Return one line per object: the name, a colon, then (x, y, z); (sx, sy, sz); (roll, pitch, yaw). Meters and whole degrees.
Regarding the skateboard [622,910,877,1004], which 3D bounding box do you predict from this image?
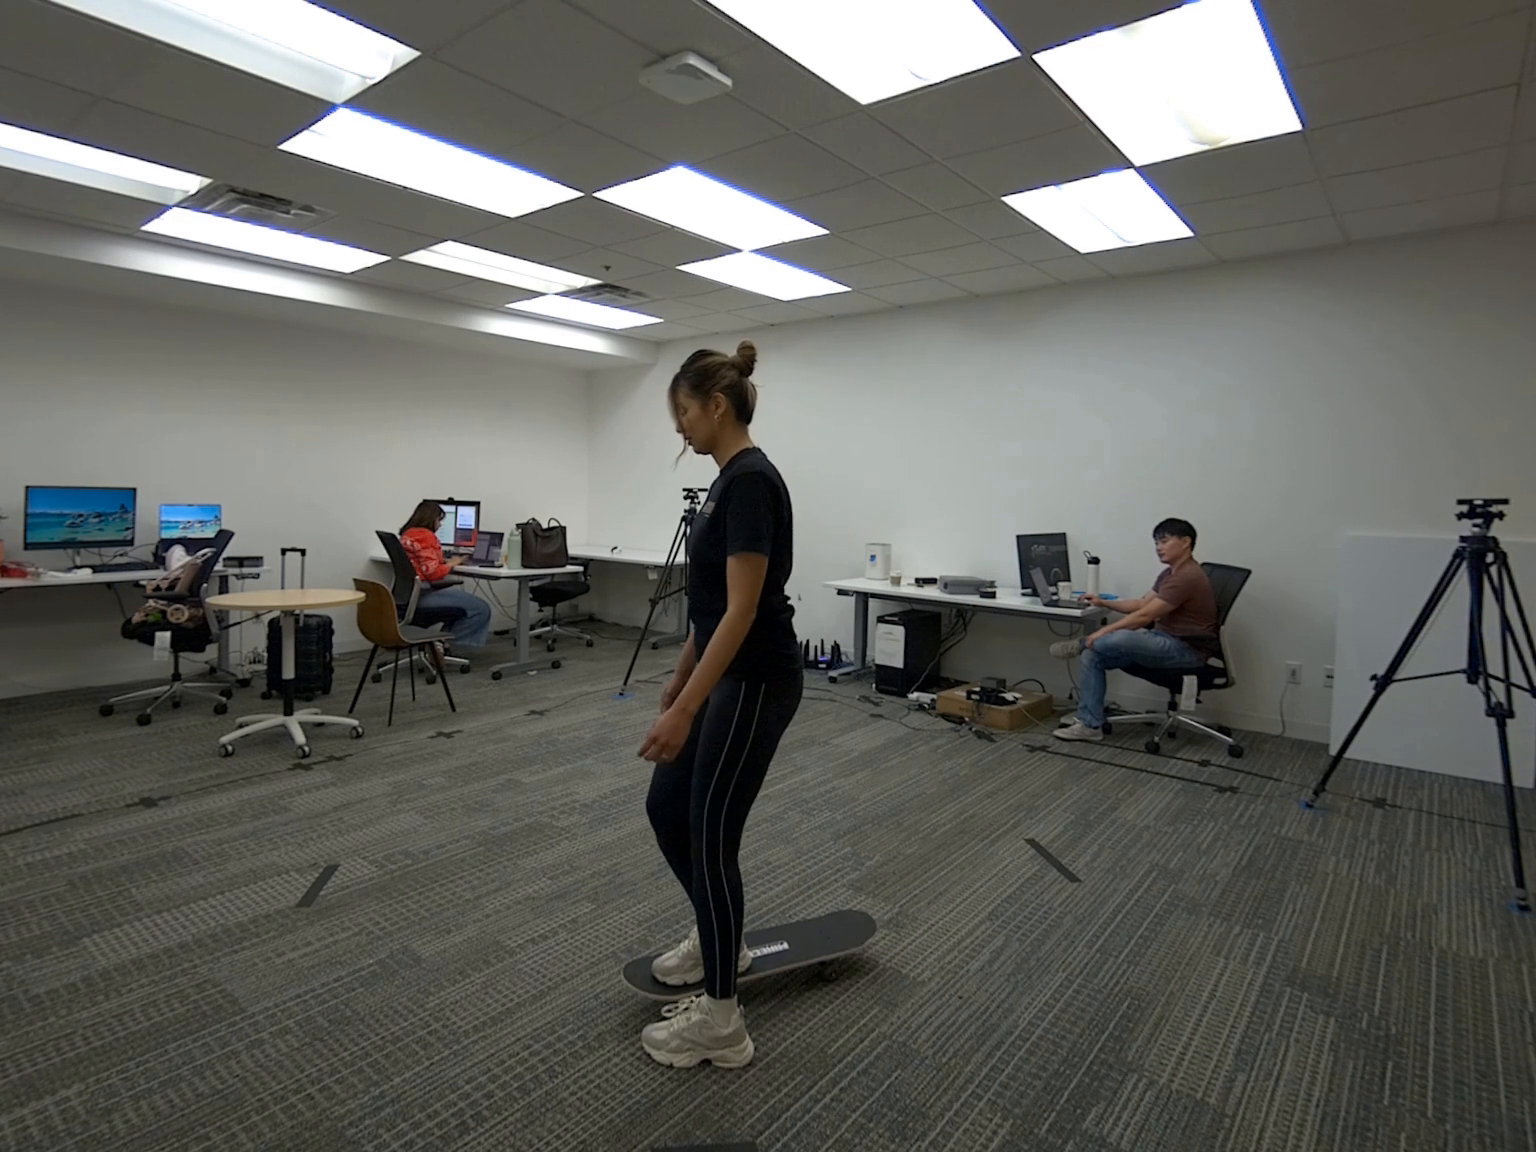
skateboard: (-0.040, 1.090, 2.390); (0.767, 0.110, 0.199); (-2, 8, -25)
